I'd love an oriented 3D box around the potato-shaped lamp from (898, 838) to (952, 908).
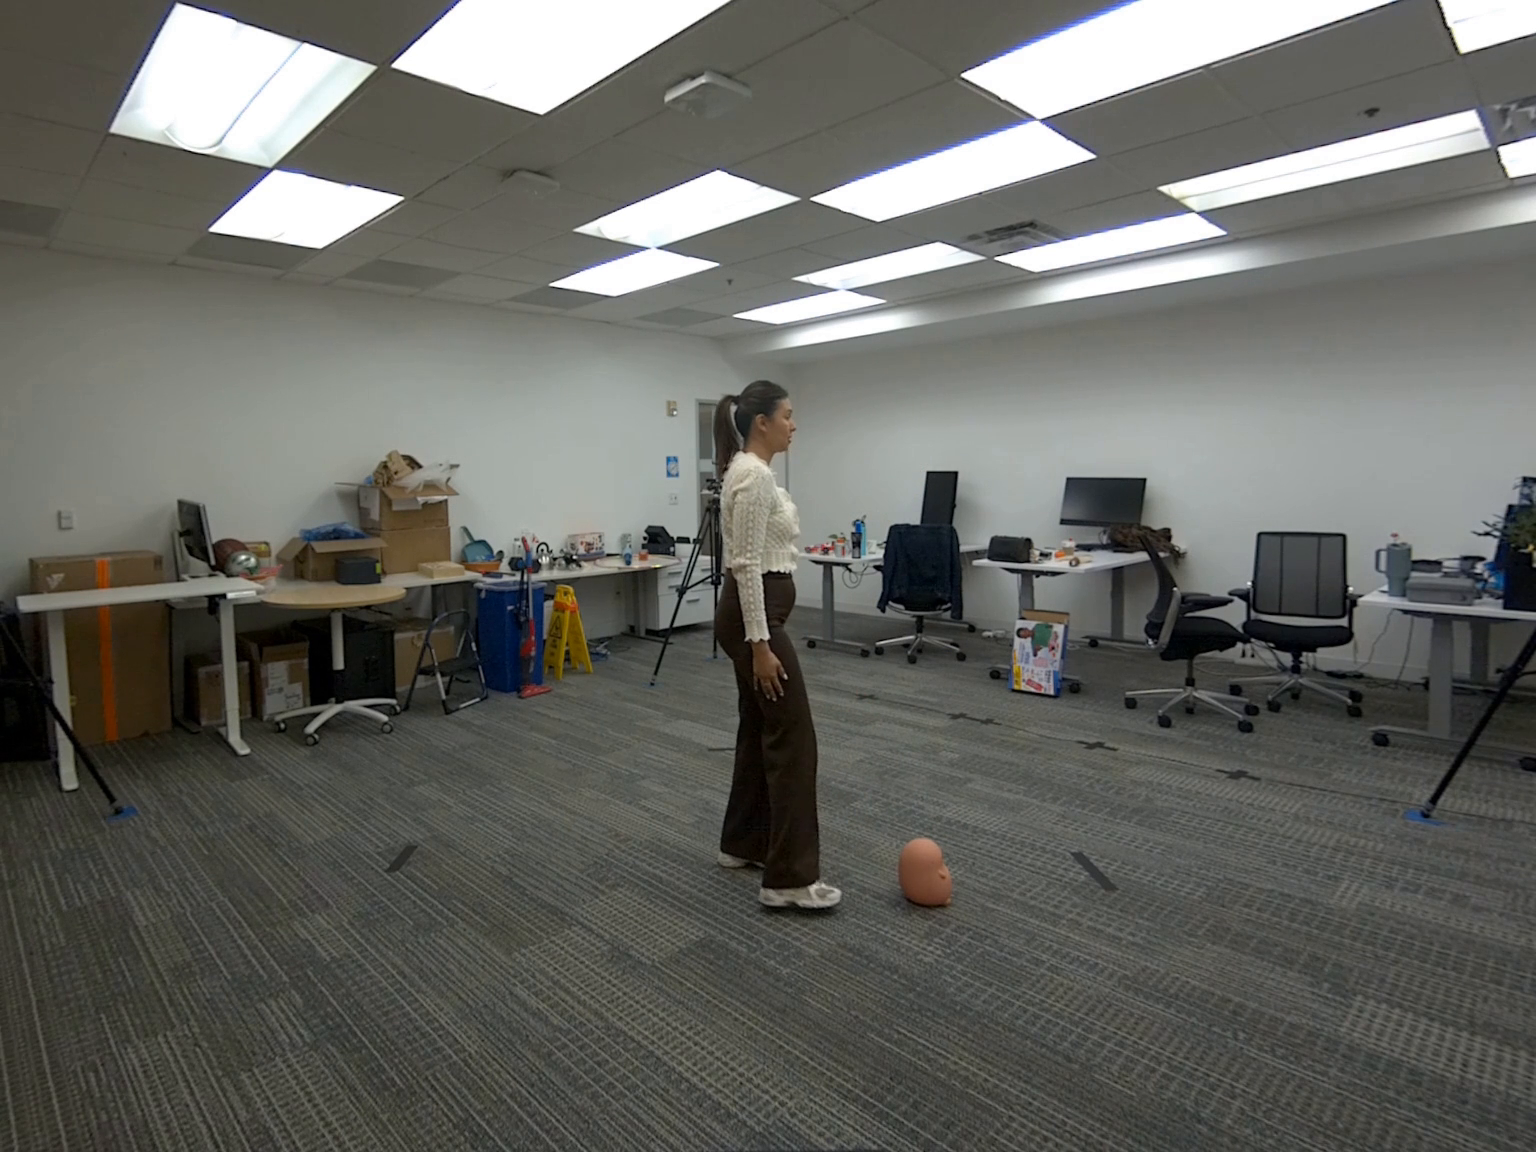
[{"bbox_3d":[0.517,0.961,2.813,0.172,0.197,0.164,0,6,6],"label":"potato-shaped lamp"}]
